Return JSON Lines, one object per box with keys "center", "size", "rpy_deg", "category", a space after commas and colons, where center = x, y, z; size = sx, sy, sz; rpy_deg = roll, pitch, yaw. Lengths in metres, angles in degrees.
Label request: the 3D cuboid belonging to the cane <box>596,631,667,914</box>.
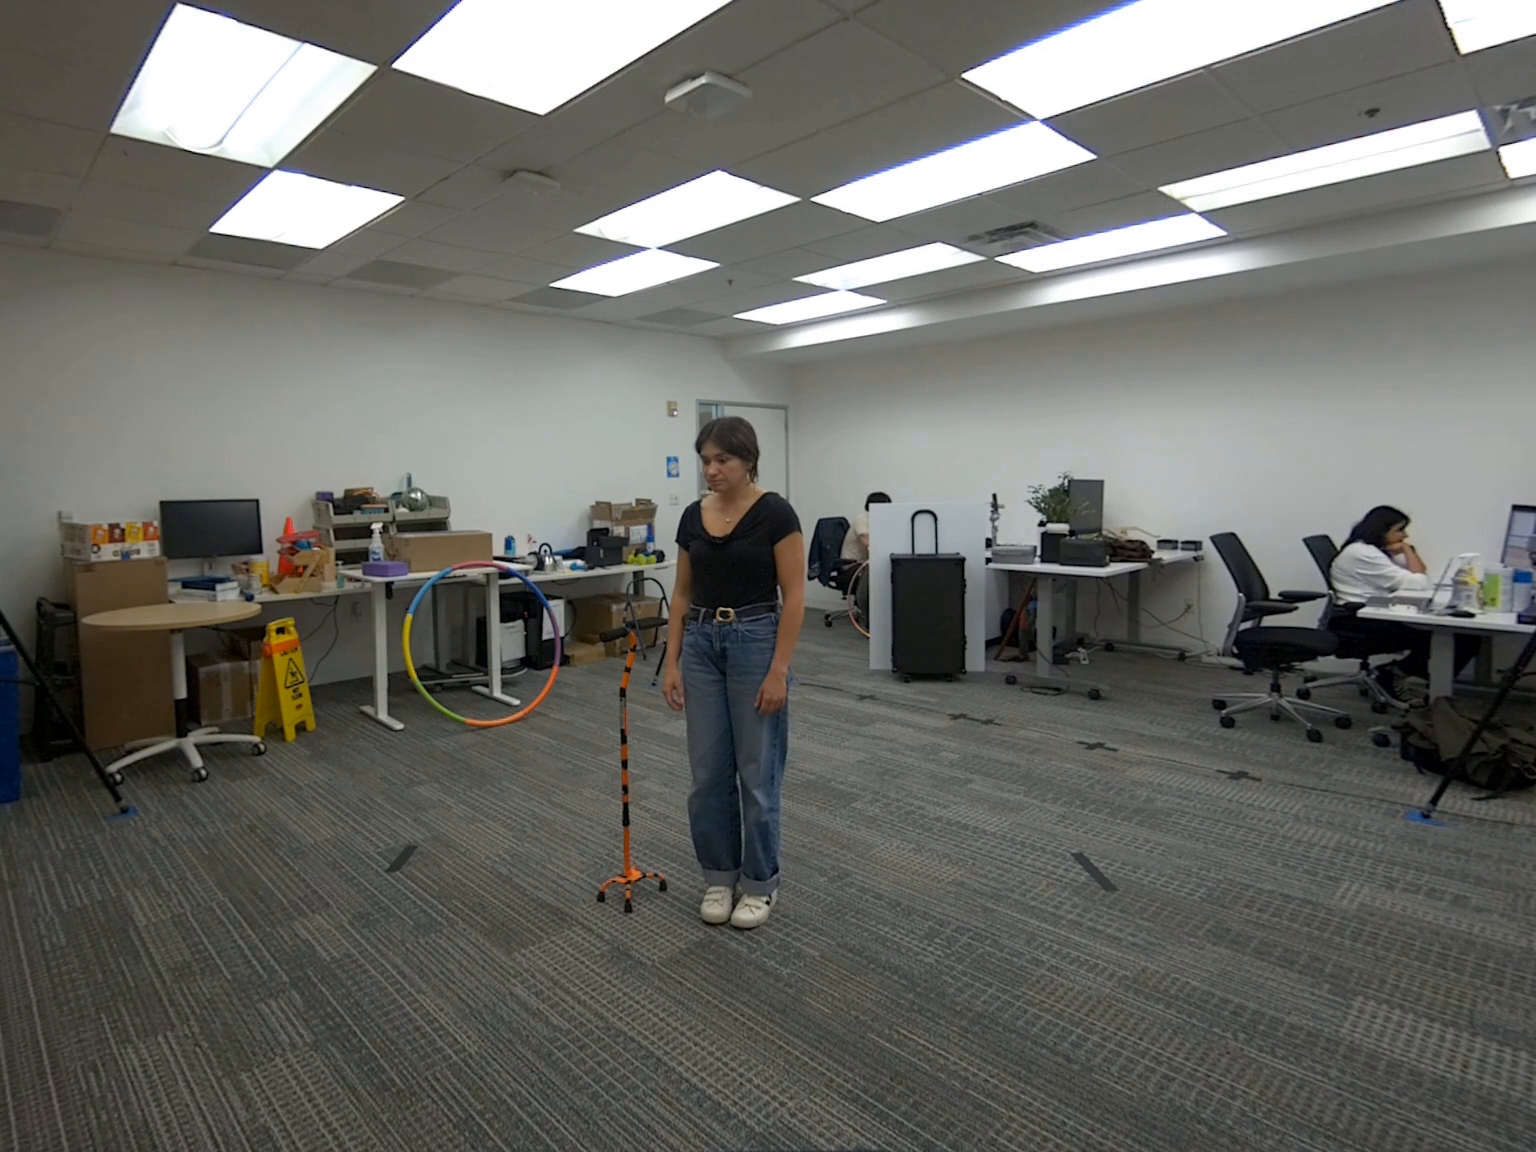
{"center": [-0.463, 0.629, 2.856], "size": [0.156, 0.903, 0.202], "rpy_deg": [3, 6, 30], "category": "cane"}
